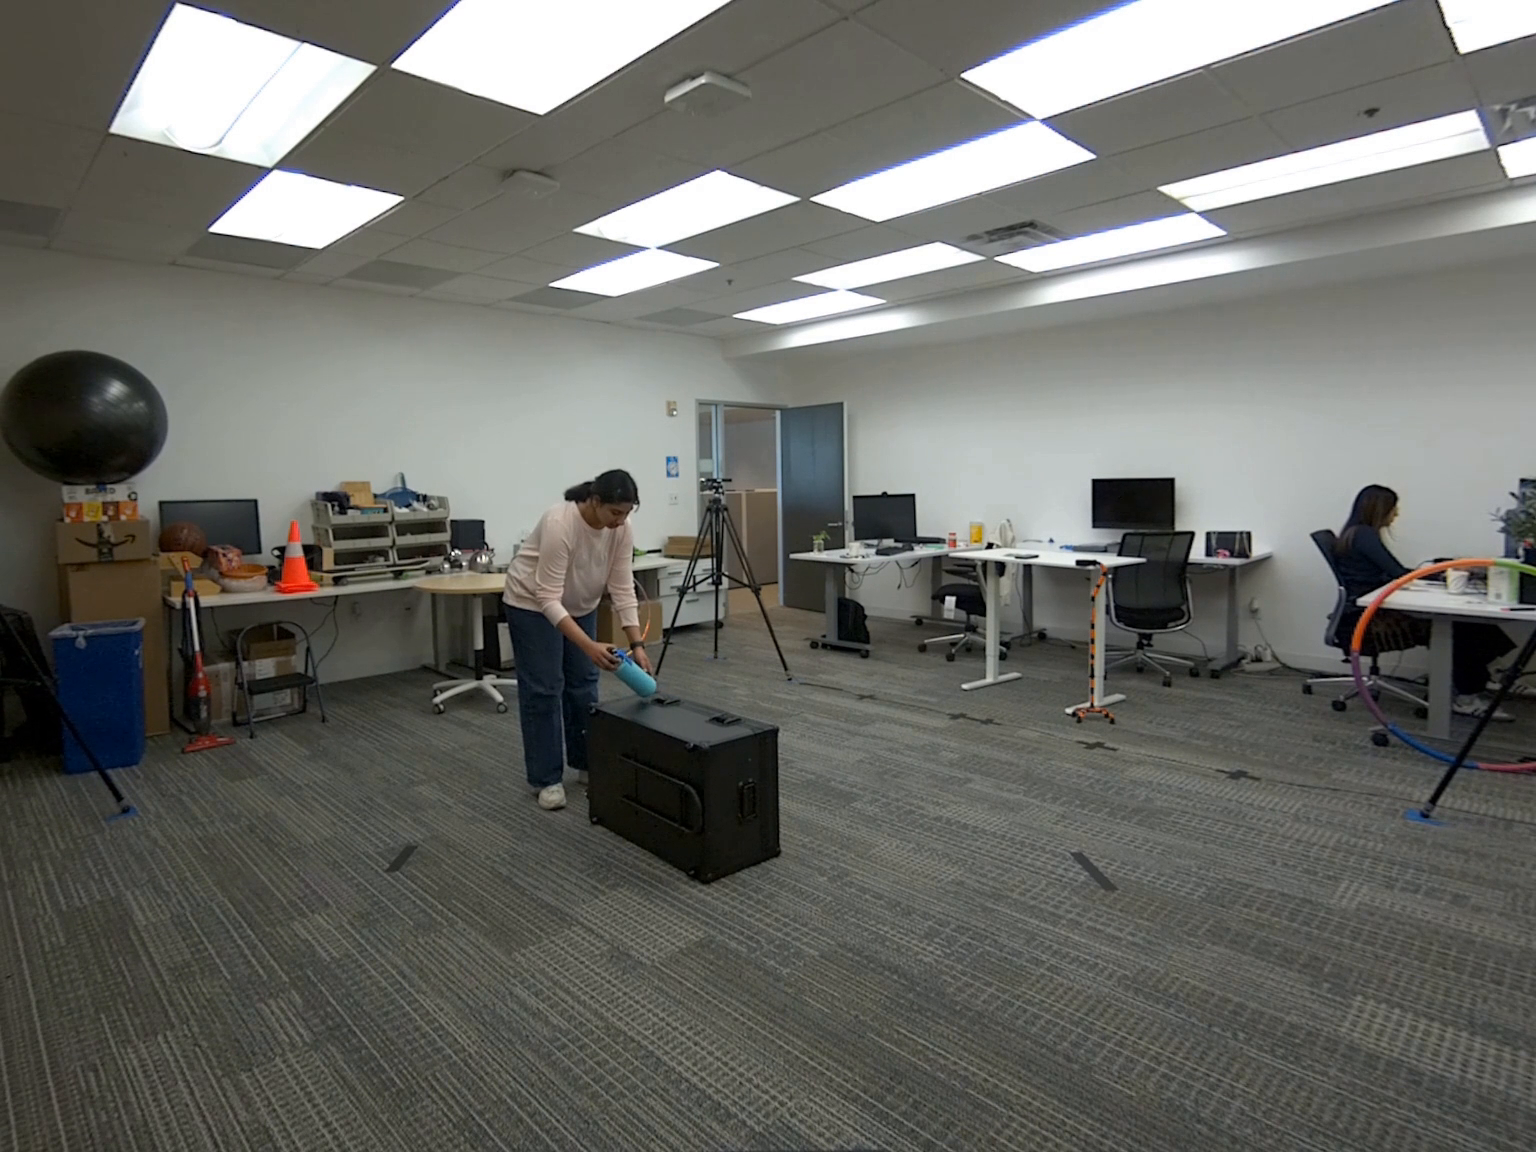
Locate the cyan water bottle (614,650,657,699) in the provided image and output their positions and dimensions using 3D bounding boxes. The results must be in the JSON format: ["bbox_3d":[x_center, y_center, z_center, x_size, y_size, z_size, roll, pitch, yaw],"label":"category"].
[{"bbox_3d":[-0.586,0.402,3.528,0.095,0.093,0.273,3,-37,44],"label":"cyan water bottle"}]
